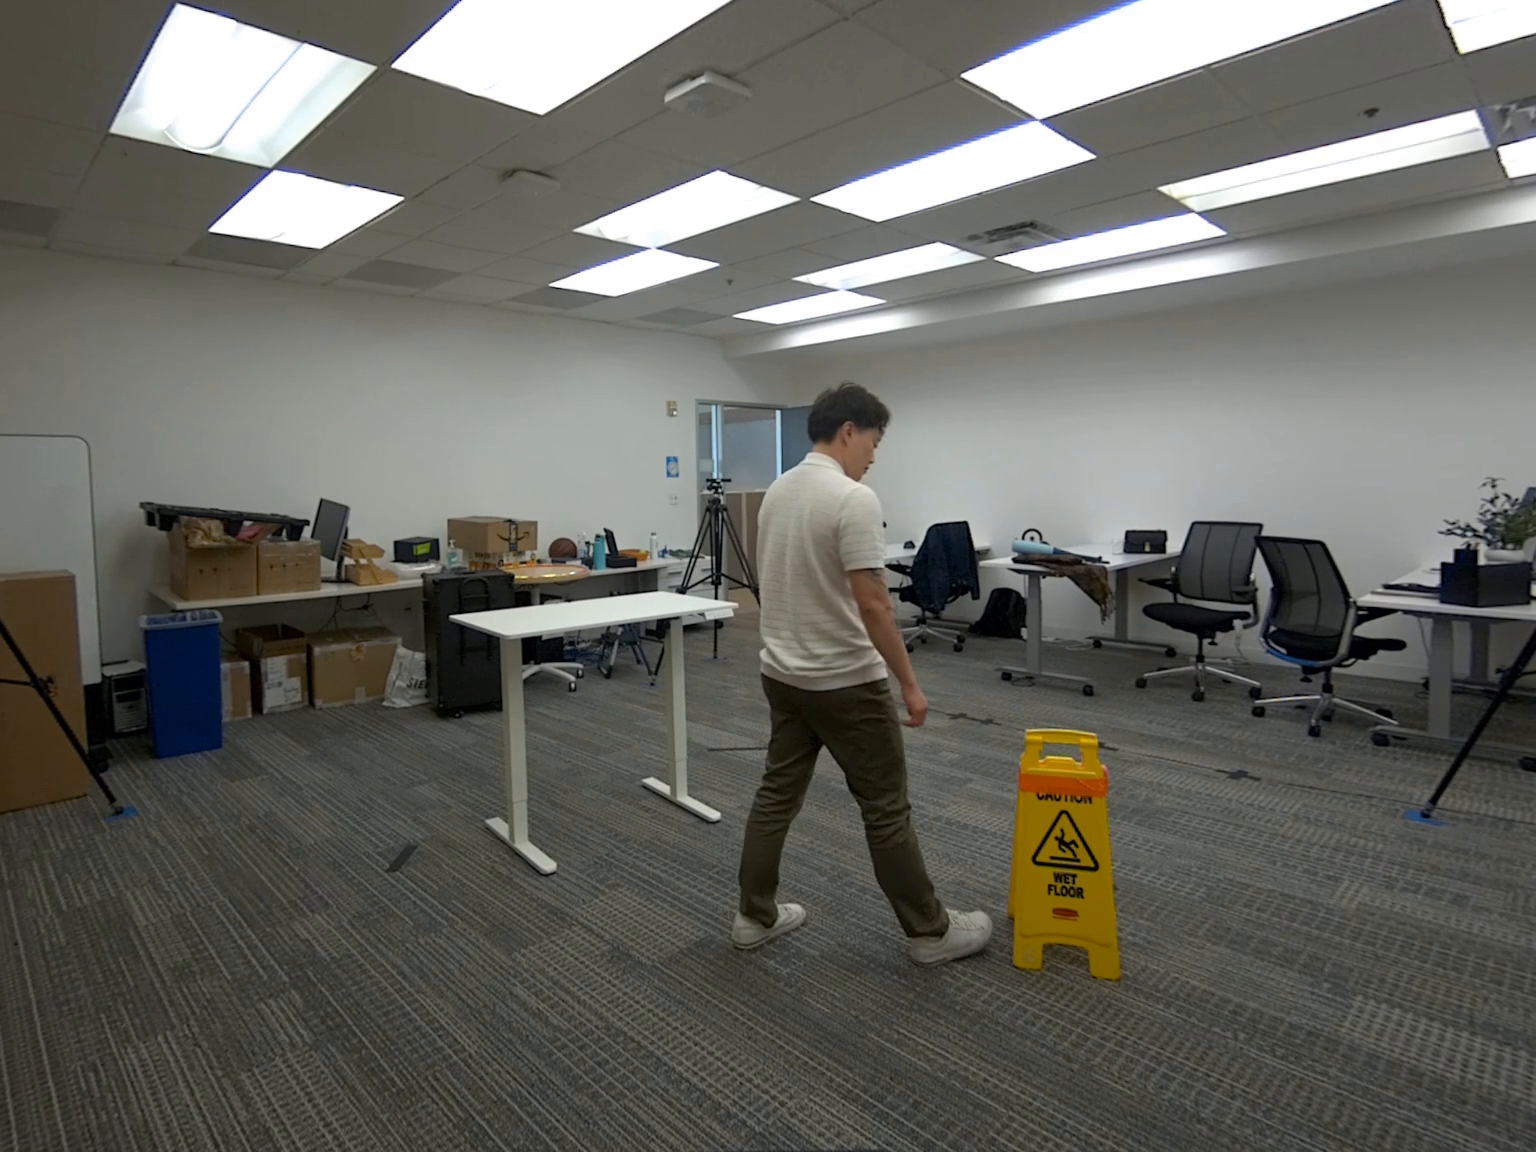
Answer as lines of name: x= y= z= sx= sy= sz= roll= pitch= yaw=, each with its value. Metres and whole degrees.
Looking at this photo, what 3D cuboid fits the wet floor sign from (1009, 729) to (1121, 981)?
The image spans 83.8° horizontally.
wet floor sign: x=0.862 y=0.772 z=2.502 sx=0.286 sy=0.644 sz=0.287 roll=-2 pitch=3 yaw=13
